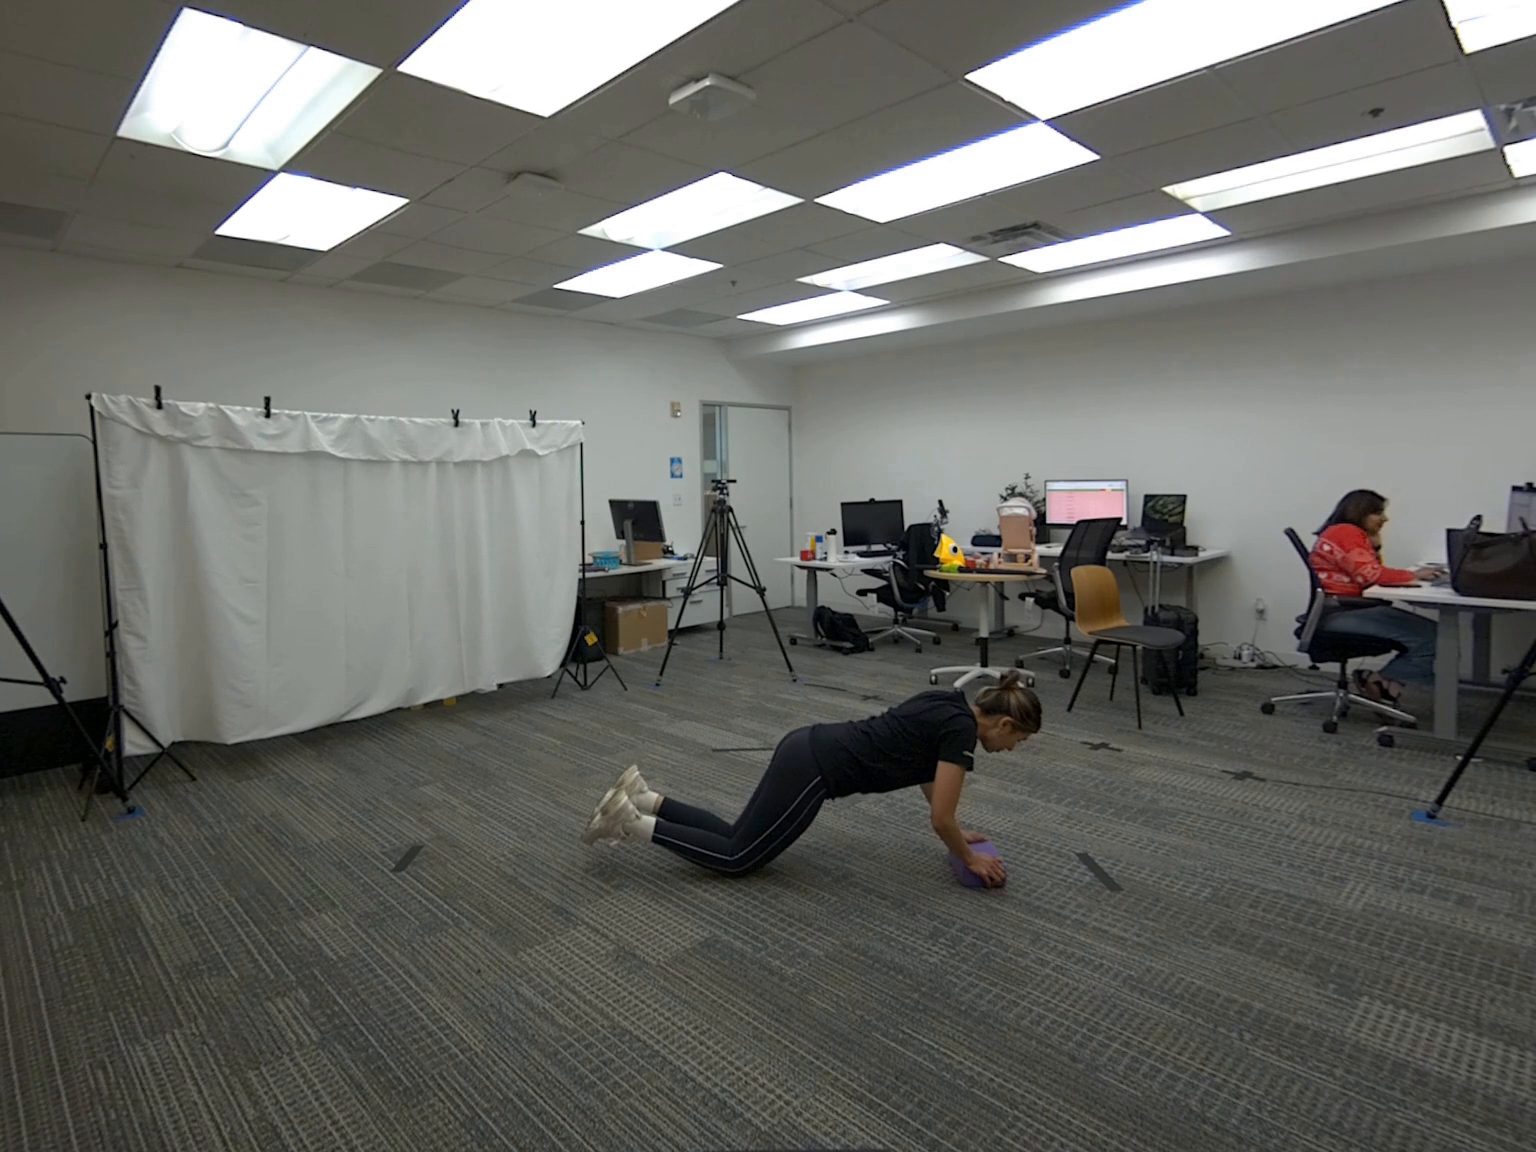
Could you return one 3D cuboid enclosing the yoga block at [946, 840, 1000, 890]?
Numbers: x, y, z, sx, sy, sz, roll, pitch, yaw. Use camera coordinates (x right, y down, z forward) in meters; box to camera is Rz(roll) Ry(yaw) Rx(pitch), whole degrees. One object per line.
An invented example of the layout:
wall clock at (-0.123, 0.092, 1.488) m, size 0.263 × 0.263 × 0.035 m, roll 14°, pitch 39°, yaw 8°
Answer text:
yoga block at (0.730, 1.002, 2.999) m, size 0.149 × 0.076 × 0.230 m, roll 0°, pitch 7°, yaw 1°
